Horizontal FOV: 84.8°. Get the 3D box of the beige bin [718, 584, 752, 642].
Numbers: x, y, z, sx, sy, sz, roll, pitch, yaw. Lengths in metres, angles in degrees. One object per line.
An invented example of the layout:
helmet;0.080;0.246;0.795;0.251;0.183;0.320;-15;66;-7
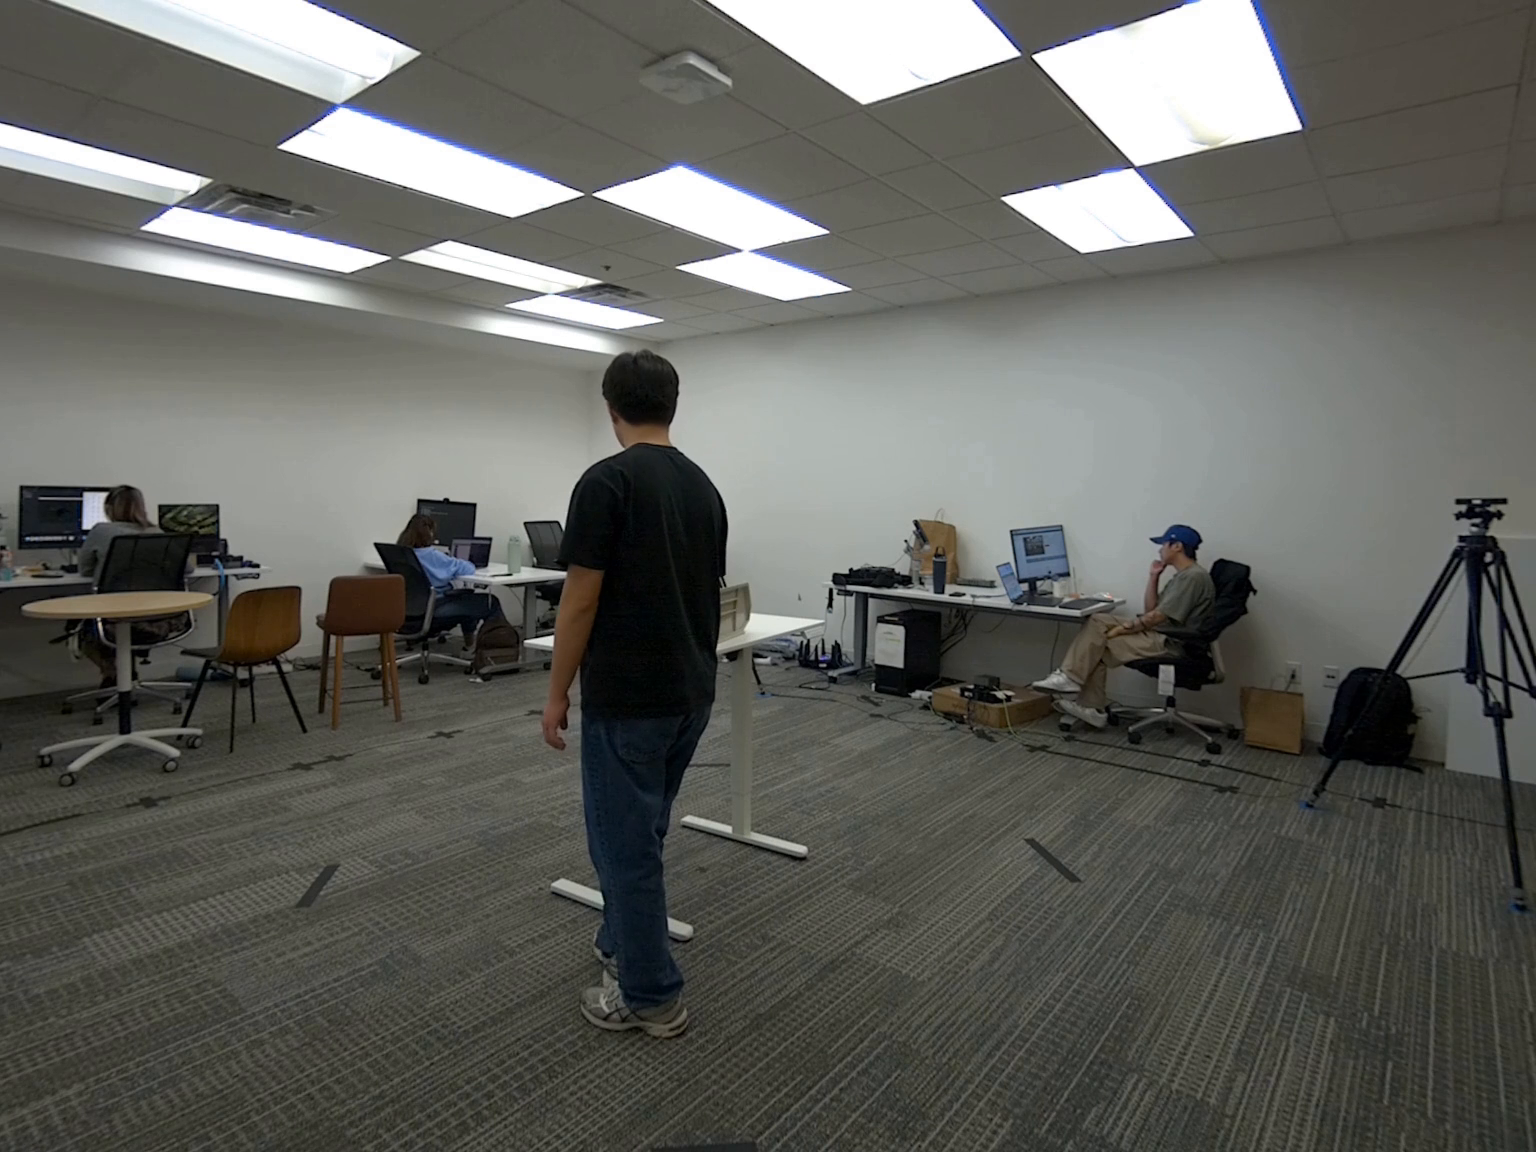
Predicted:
beige bin;-0.328;0.116;2.941;0.433;0.188;0.370;3;7;23
